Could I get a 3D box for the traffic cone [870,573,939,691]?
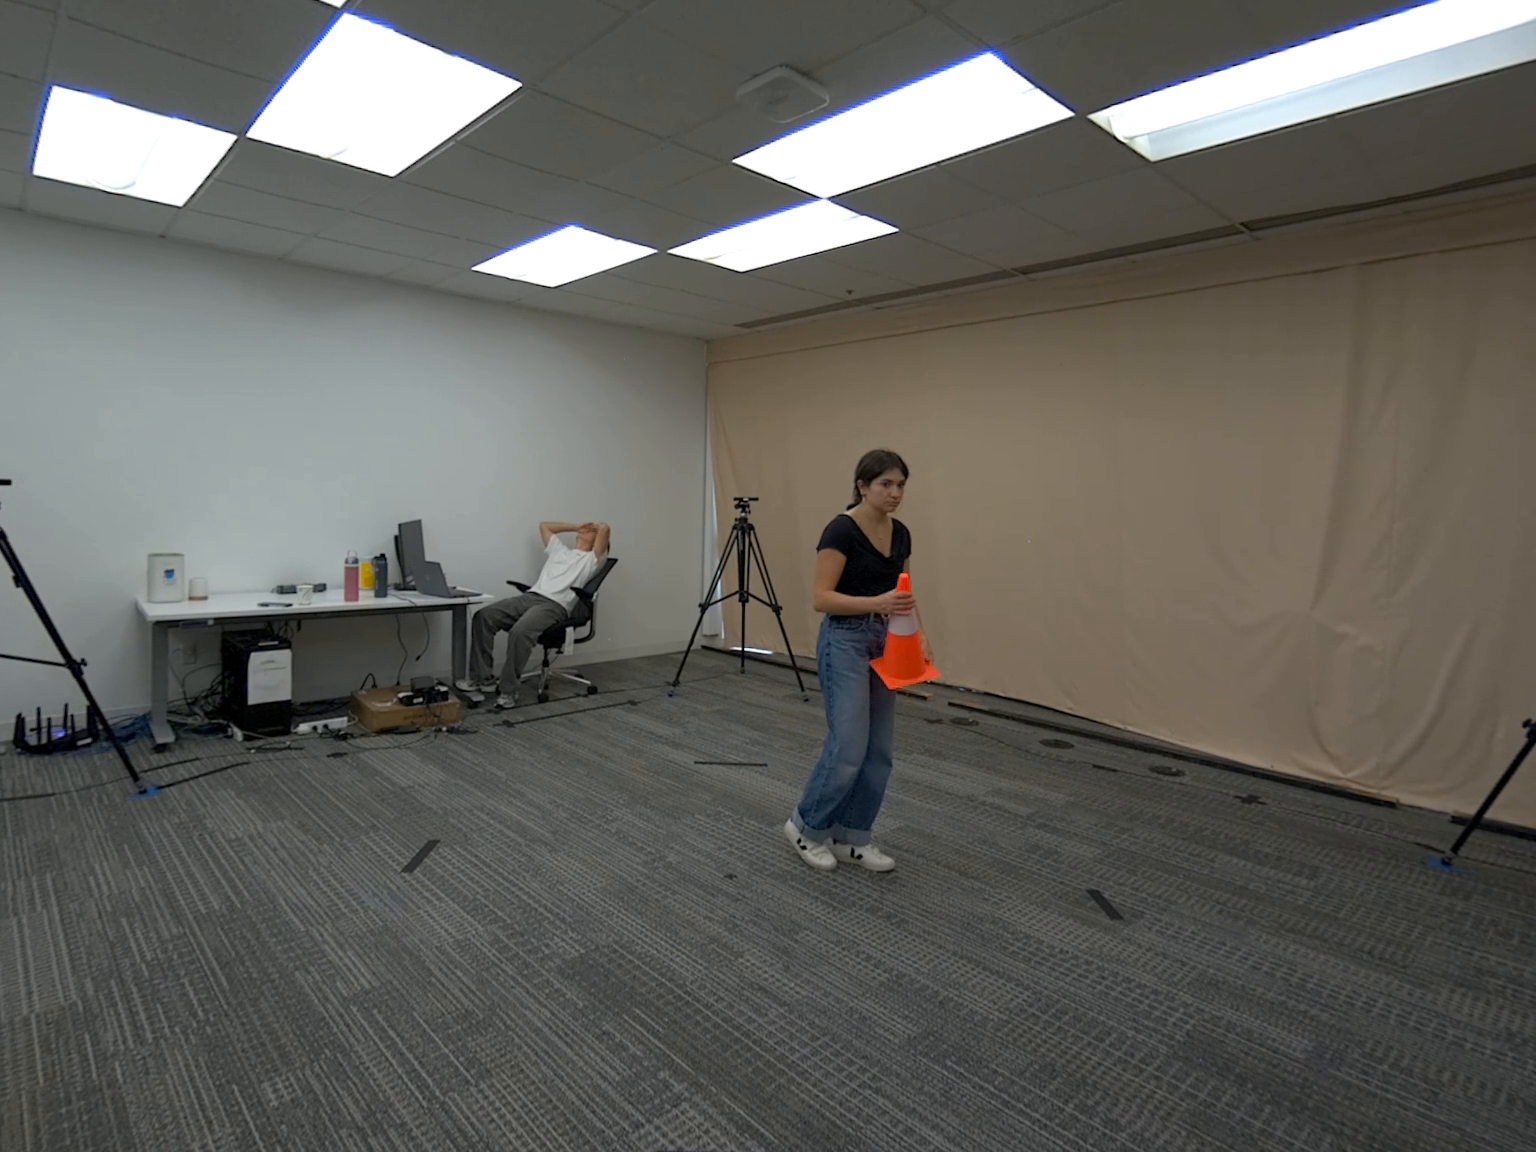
[{"bbox_3d":[0.456,0.181,2.961,0.204,0.377,0.208,-11,24,-8],"label":"traffic cone"}]
